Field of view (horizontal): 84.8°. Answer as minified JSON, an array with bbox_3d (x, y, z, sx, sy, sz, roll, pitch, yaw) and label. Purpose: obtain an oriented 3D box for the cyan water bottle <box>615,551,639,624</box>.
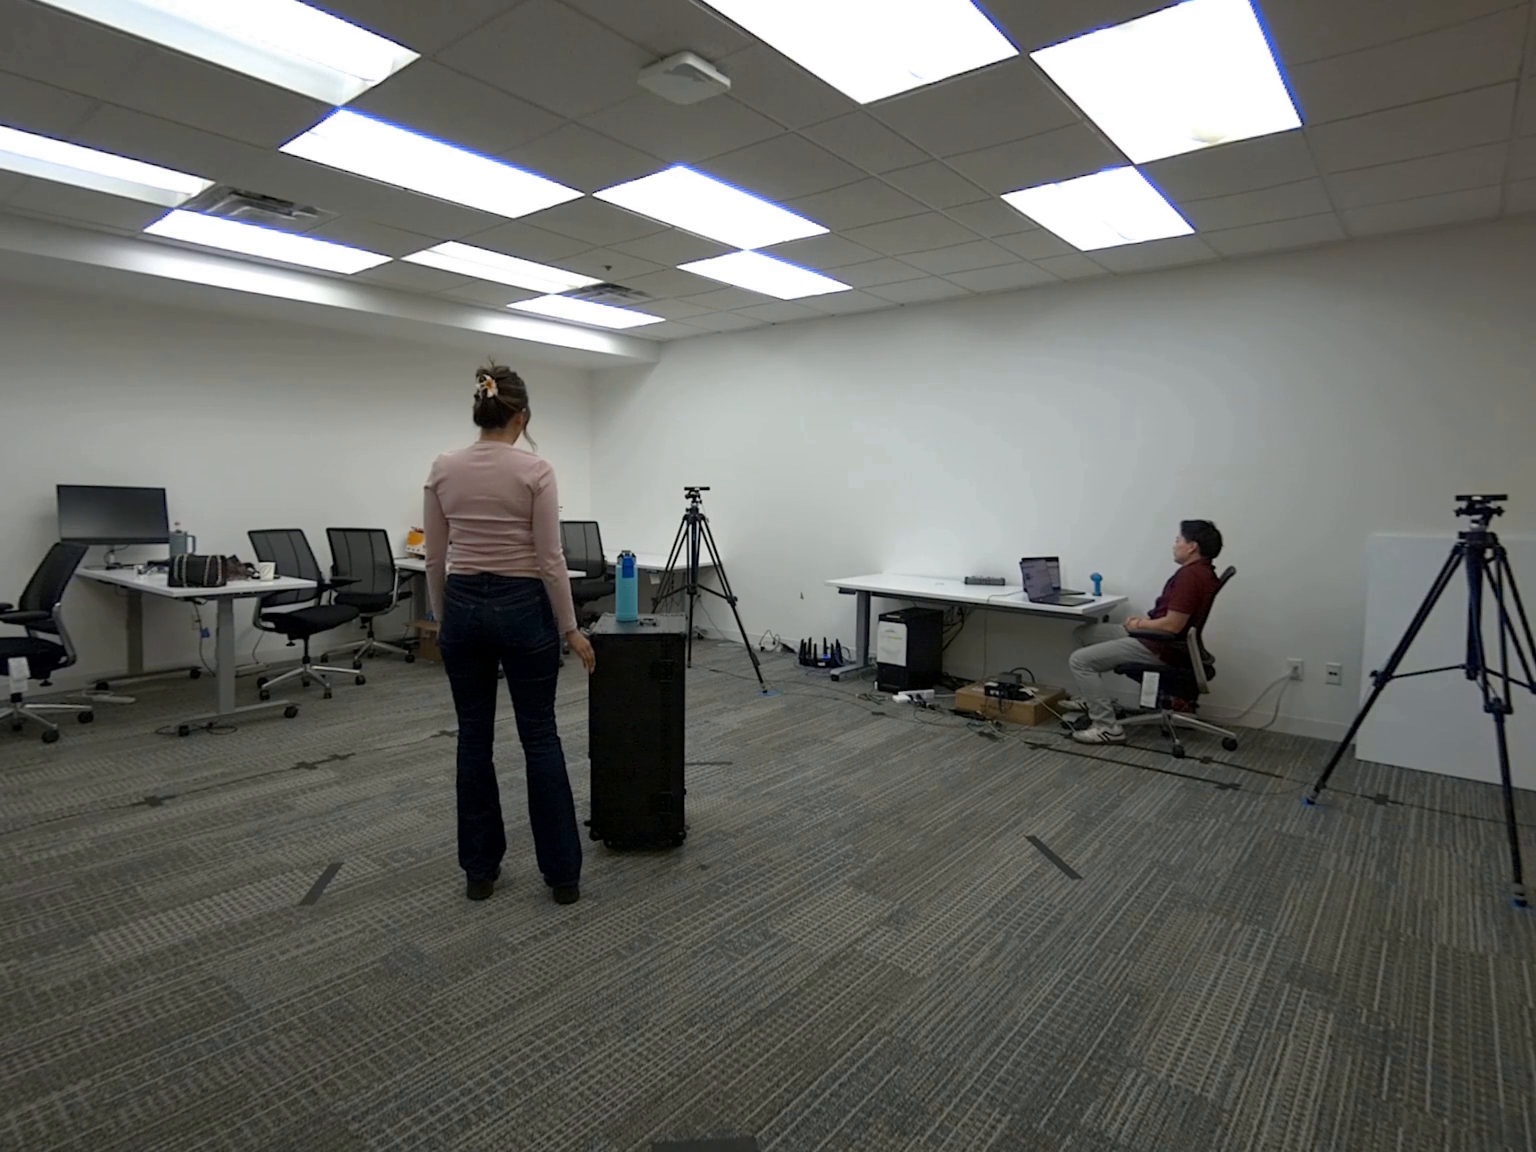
[{"bbox_3d":[-0.587,0.034,3.477,0.092,0.282,0.093,5,5,-2],"label":"cyan water bottle"}]
